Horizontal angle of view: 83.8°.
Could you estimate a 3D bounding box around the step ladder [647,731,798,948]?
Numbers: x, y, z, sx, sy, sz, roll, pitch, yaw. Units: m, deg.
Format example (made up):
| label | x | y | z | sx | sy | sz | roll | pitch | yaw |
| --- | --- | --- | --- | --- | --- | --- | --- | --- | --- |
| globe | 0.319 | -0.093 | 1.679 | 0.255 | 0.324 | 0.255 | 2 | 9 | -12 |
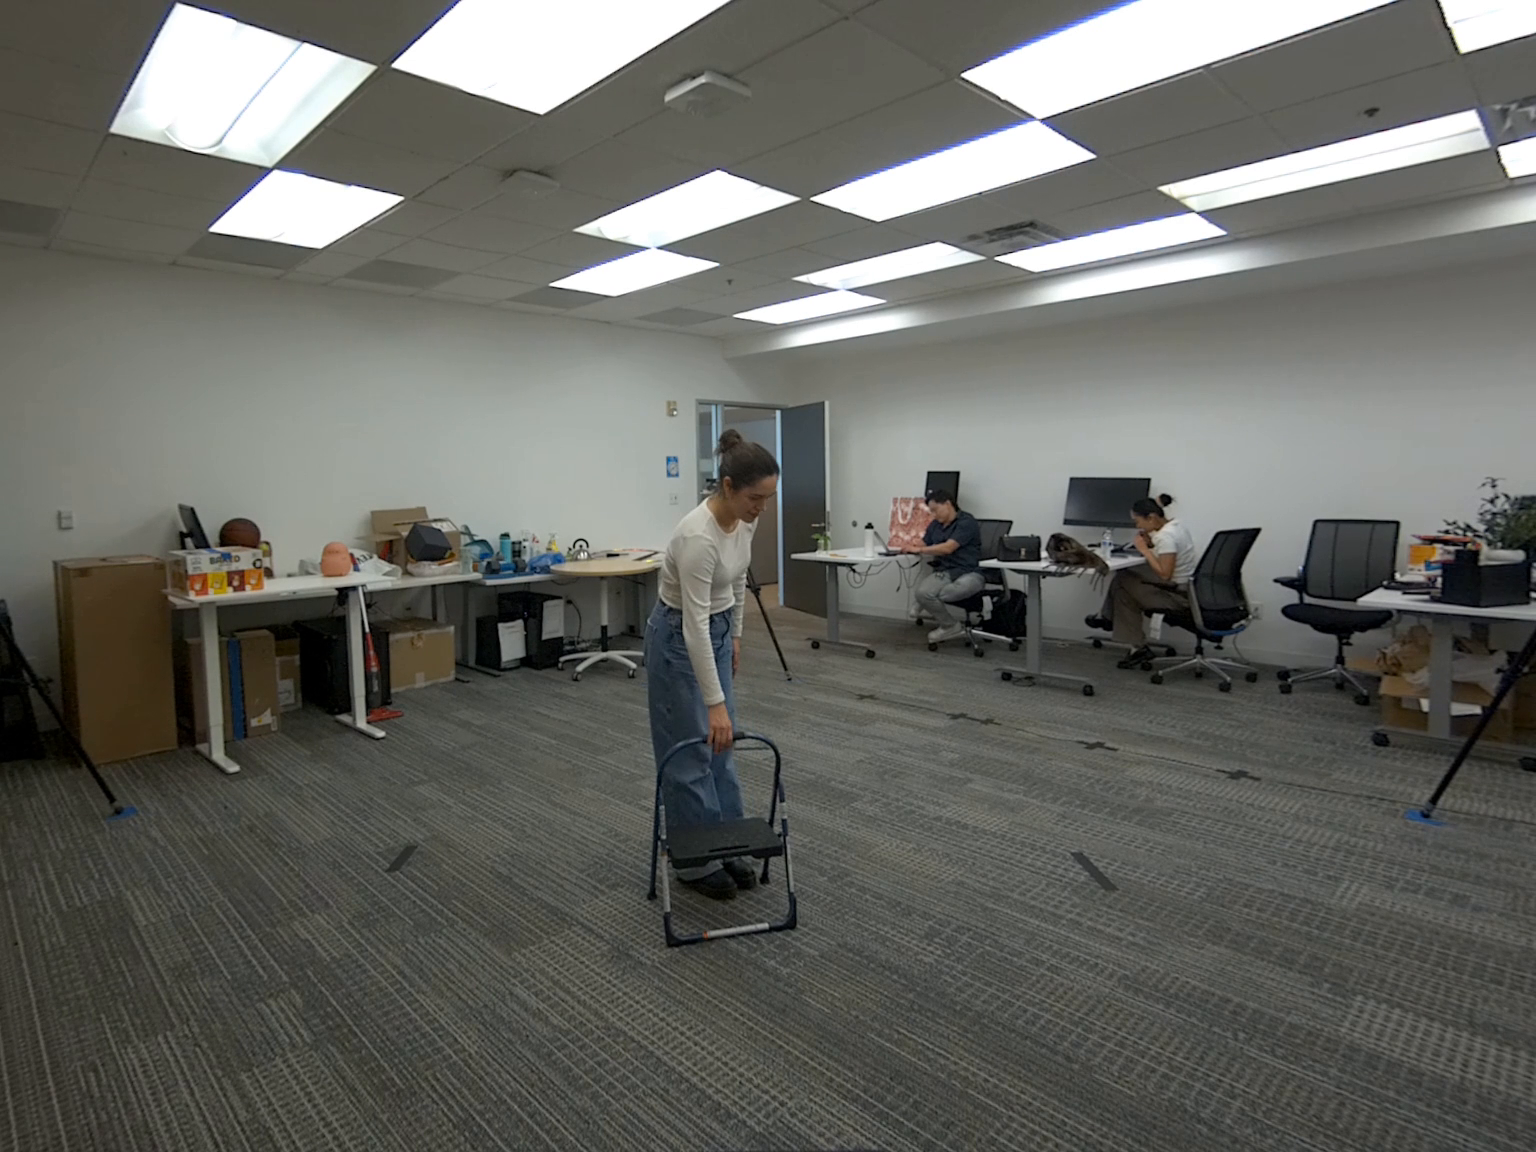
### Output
| label | x | y | z | sx | sy | sz | roll | pitch | yaw |
| --- | --- | --- | --- | --- | --- | --- | --- | --- | --- |
| step ladder | -0.156 | 0.785 | 2.746 | 0.424 | 0.604 | 0.356 | -2 | 4 | -16 |
